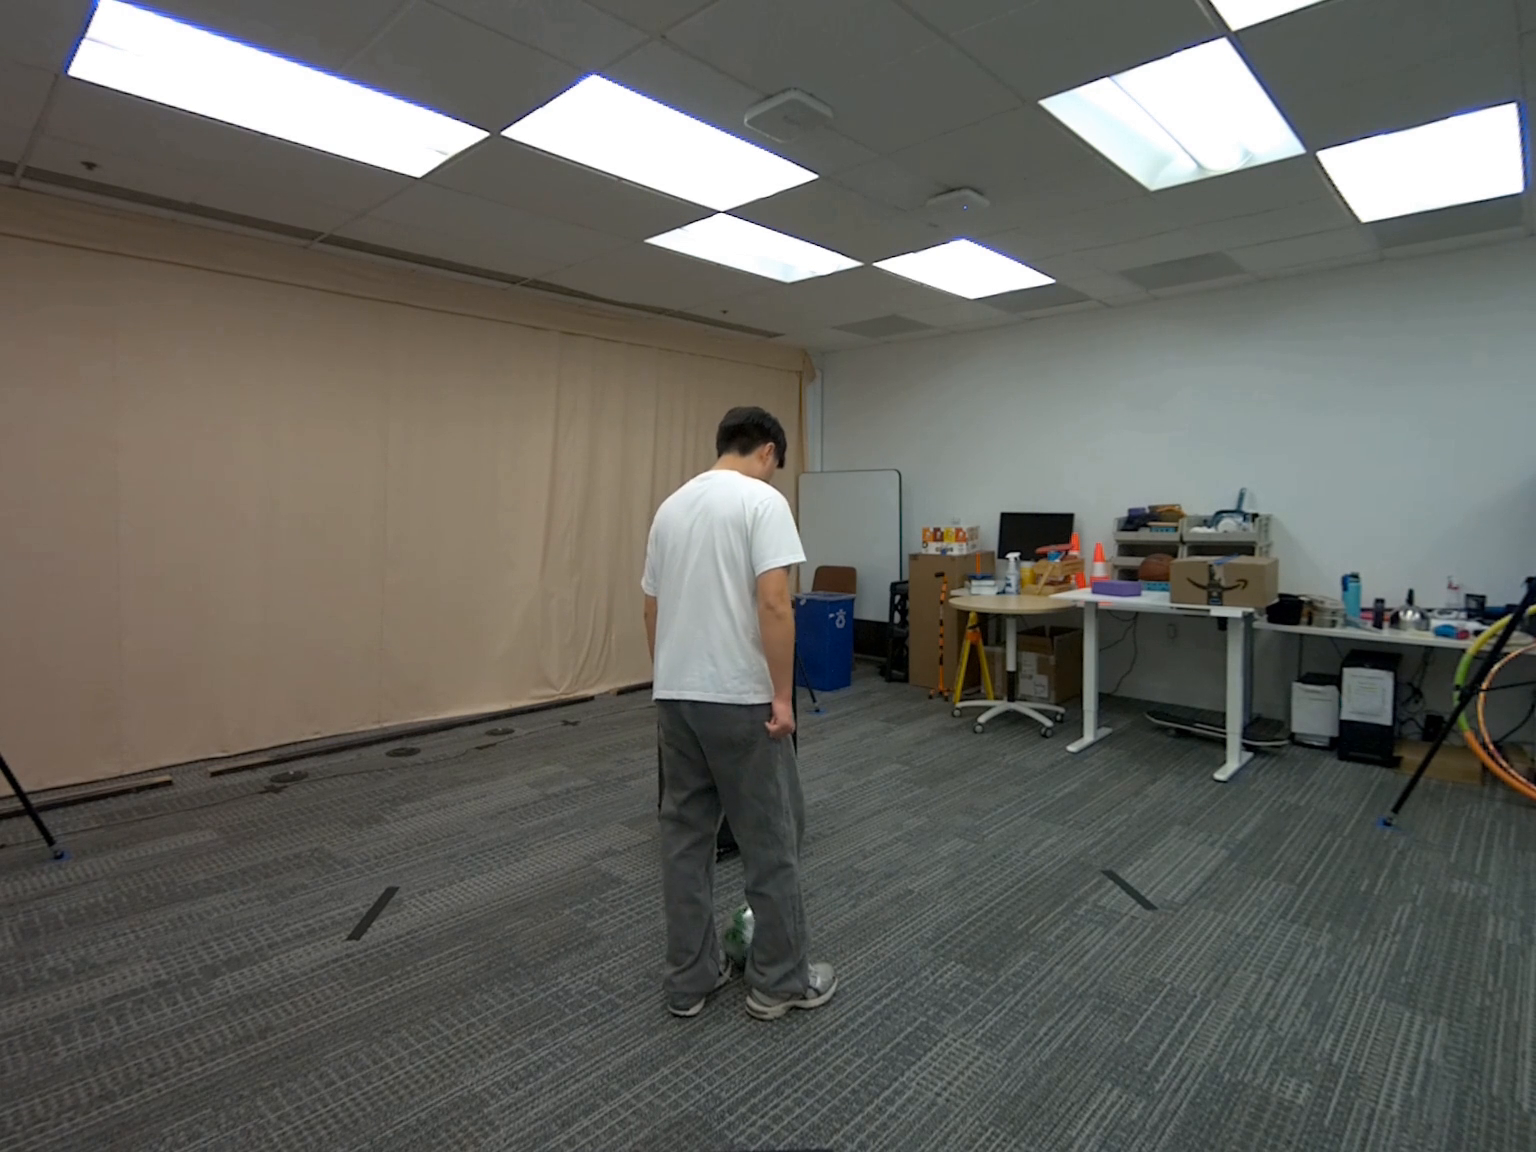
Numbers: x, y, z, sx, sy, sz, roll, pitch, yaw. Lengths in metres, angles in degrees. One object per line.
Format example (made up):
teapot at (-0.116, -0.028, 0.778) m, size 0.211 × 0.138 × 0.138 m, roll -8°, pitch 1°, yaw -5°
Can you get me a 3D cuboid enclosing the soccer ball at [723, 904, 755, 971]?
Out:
soccer ball at (-0.040, 1.081, 2.545) m, size 0.187 × 0.187 × 0.188 m, roll 0°, pitch 4°, yaw -2°
